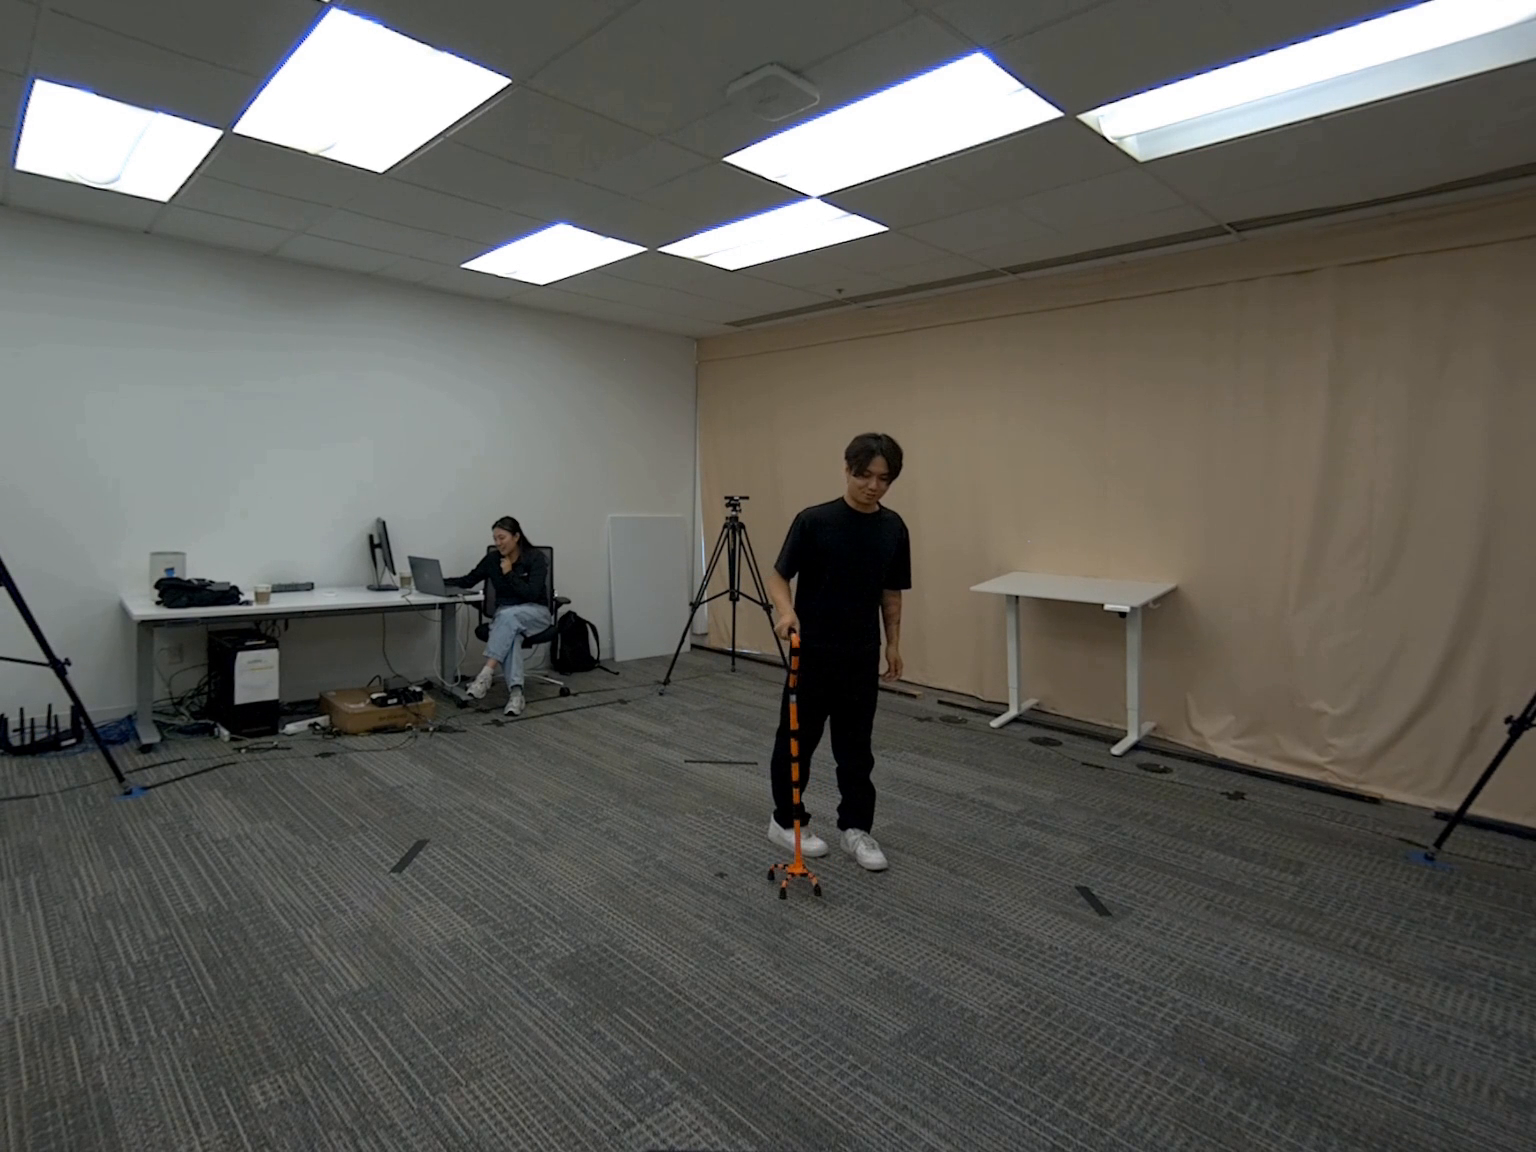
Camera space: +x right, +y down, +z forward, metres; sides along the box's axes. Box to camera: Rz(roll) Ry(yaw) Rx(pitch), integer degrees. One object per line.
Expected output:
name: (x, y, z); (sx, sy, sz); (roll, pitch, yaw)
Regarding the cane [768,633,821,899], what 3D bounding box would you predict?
cane: (0.069, 0.651, 2.976); (0.150, 0.908, 0.208); (-1, 0, -14)
